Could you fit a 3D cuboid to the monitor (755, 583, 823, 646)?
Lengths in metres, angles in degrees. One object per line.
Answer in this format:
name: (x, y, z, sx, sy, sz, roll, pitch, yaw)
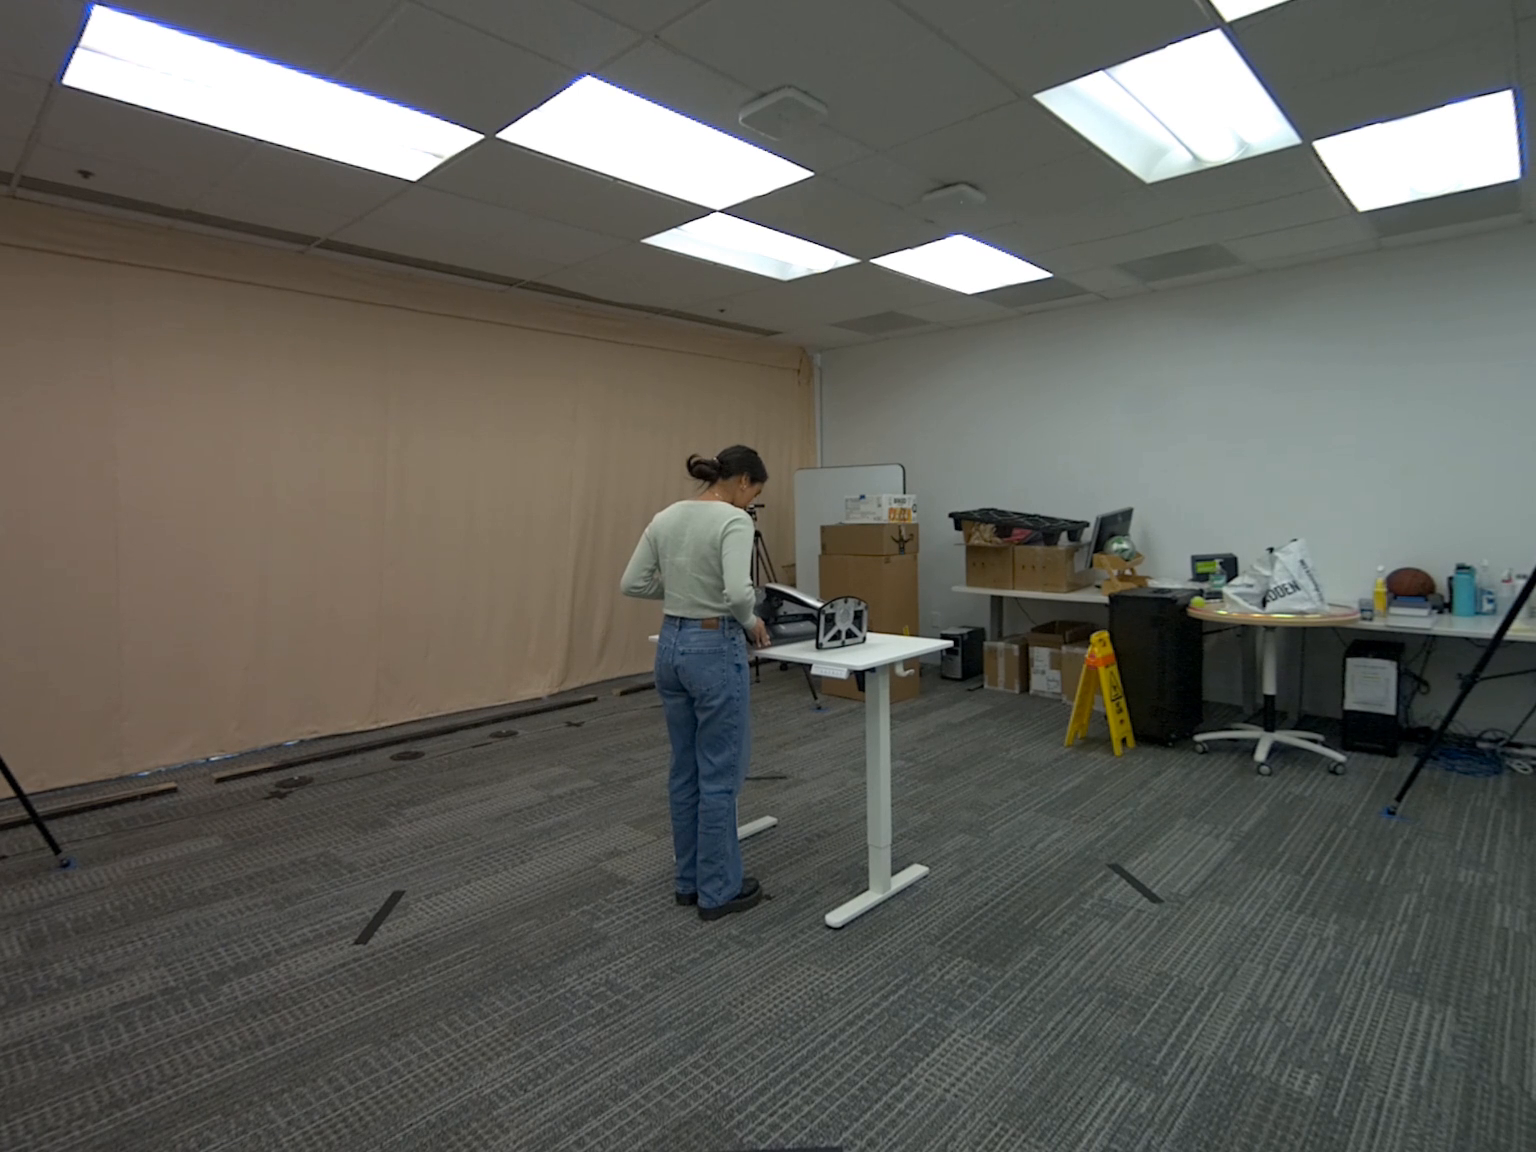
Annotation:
monitor: (0.093, 0.126, 3.130, 0.521, 0.187, 0.541, 3, 7, -45)
